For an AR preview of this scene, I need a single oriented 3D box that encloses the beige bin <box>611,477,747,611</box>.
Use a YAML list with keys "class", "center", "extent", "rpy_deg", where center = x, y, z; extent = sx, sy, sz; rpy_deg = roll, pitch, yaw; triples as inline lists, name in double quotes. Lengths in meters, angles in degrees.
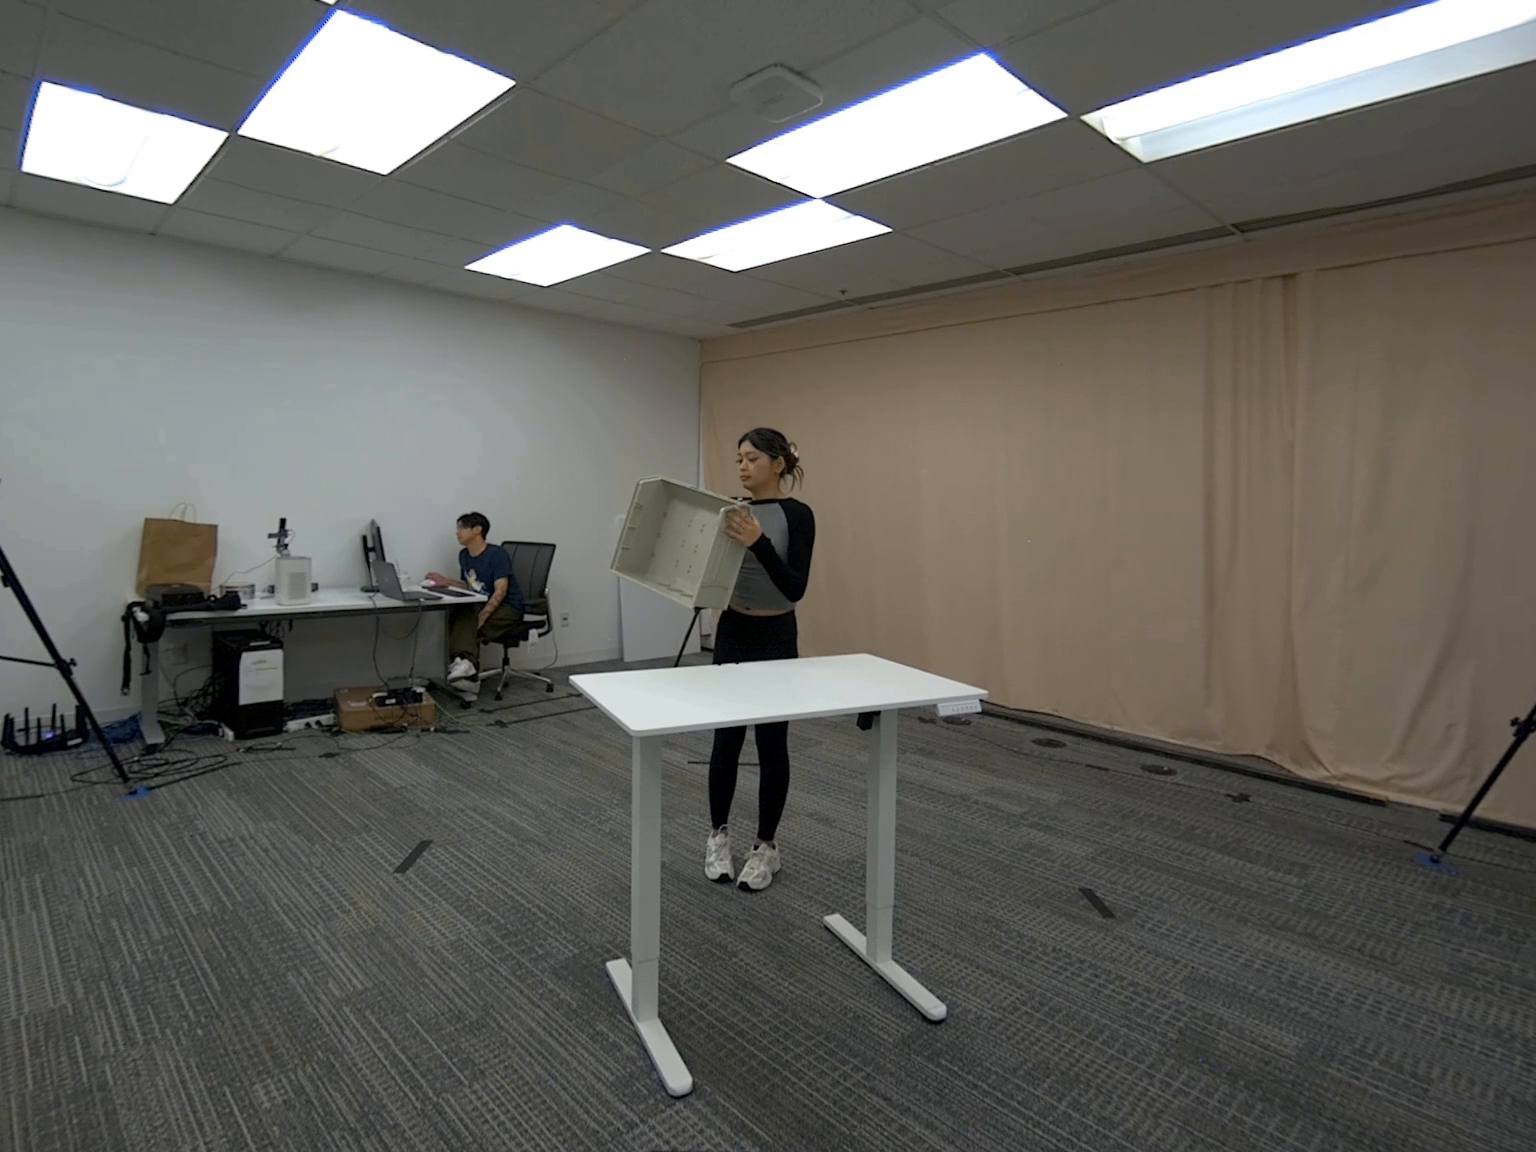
- class: "beige bin"
  center: [-0.296, -0.117, 2.887]
  extent: [0.434, 0.377, 0.184]
  rpy_deg: [20, 4, 36]
